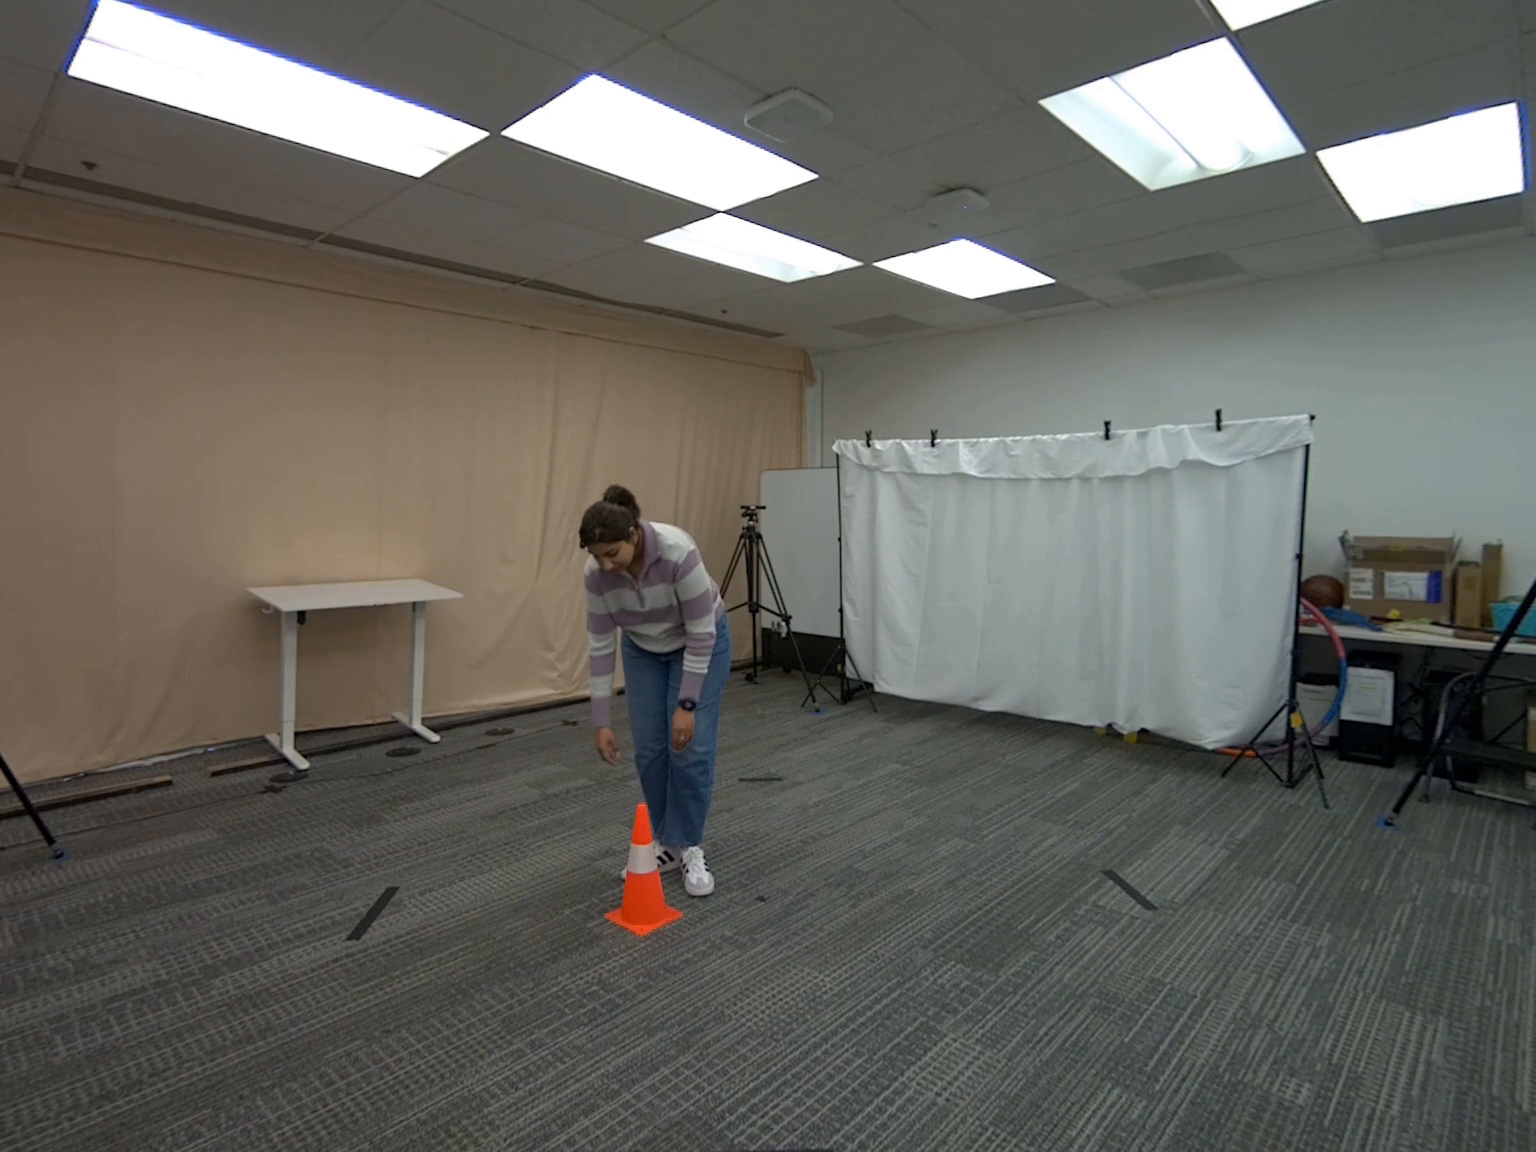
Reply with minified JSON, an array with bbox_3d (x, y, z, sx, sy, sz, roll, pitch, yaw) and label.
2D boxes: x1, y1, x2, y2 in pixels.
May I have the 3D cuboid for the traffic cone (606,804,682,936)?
[{"bbox_3d":[-0.417,0.963,2.862,0.210,0.383,0.199,3,4,41],"label":"traffic cone"}]
